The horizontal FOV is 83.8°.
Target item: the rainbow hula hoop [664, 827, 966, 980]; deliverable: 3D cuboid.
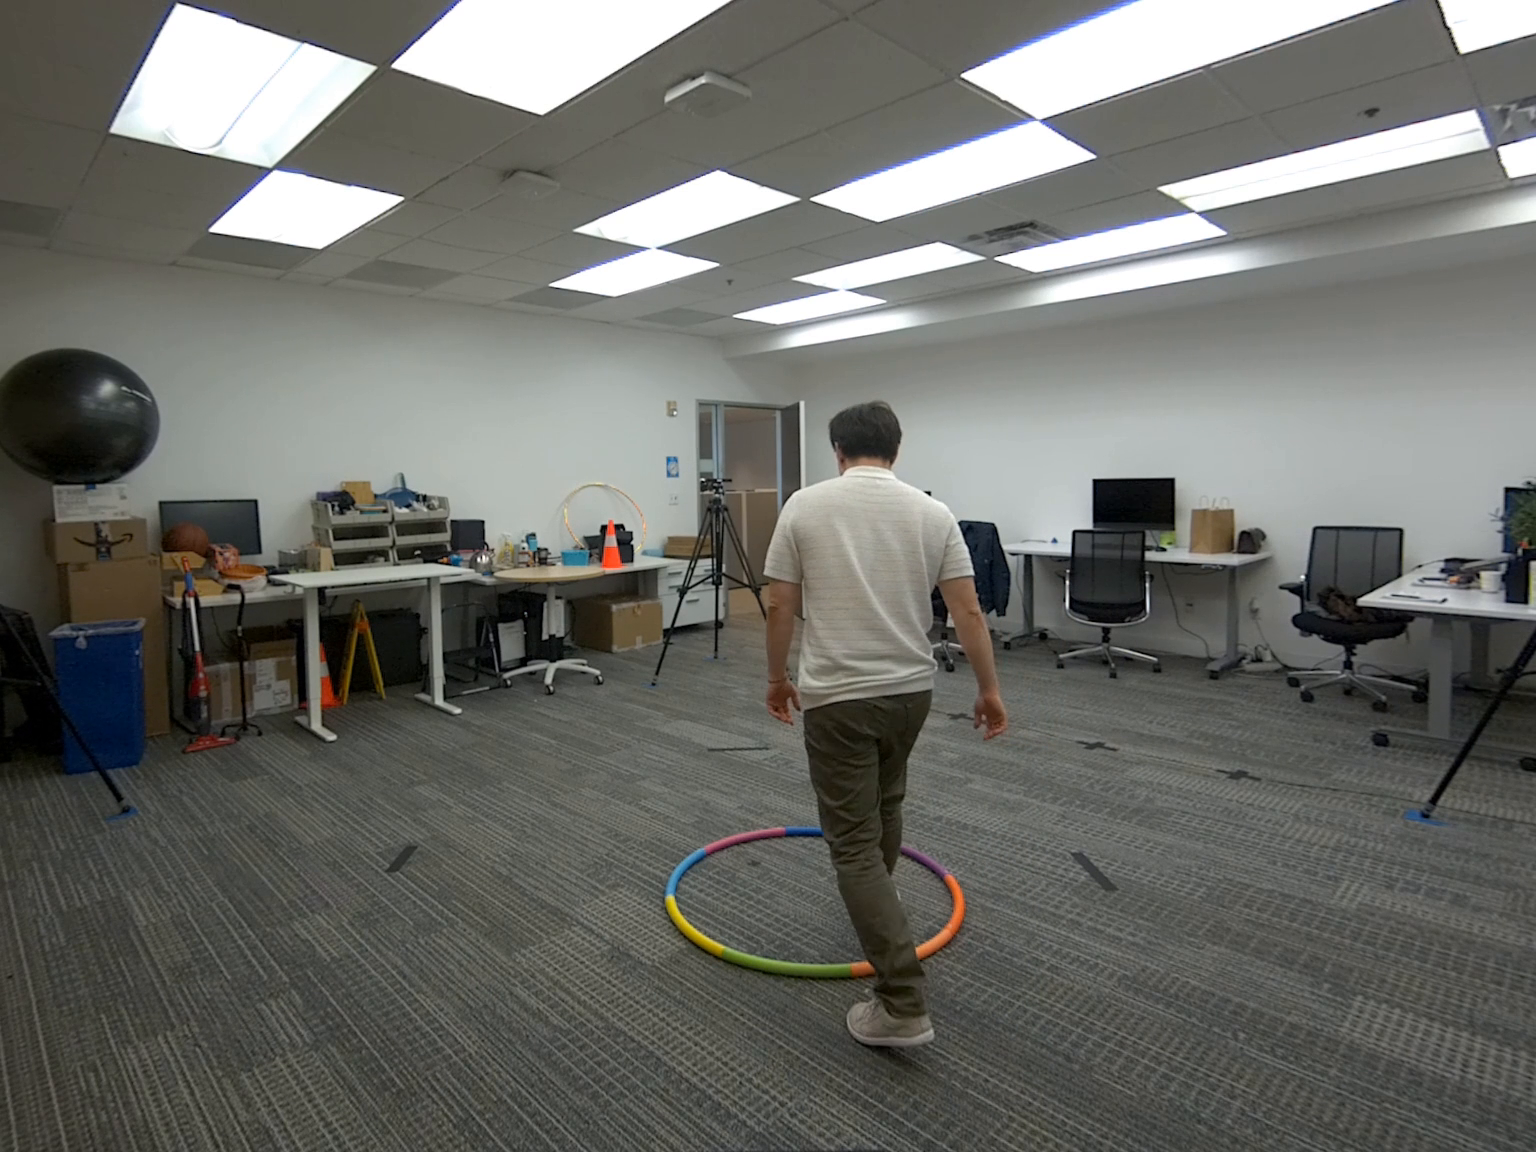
[{"bbox_3d":[0.152,1.040,2.866,0.978,0.035,0.984,-1,7,-2],"label":"rainbow hula hoop"}]
